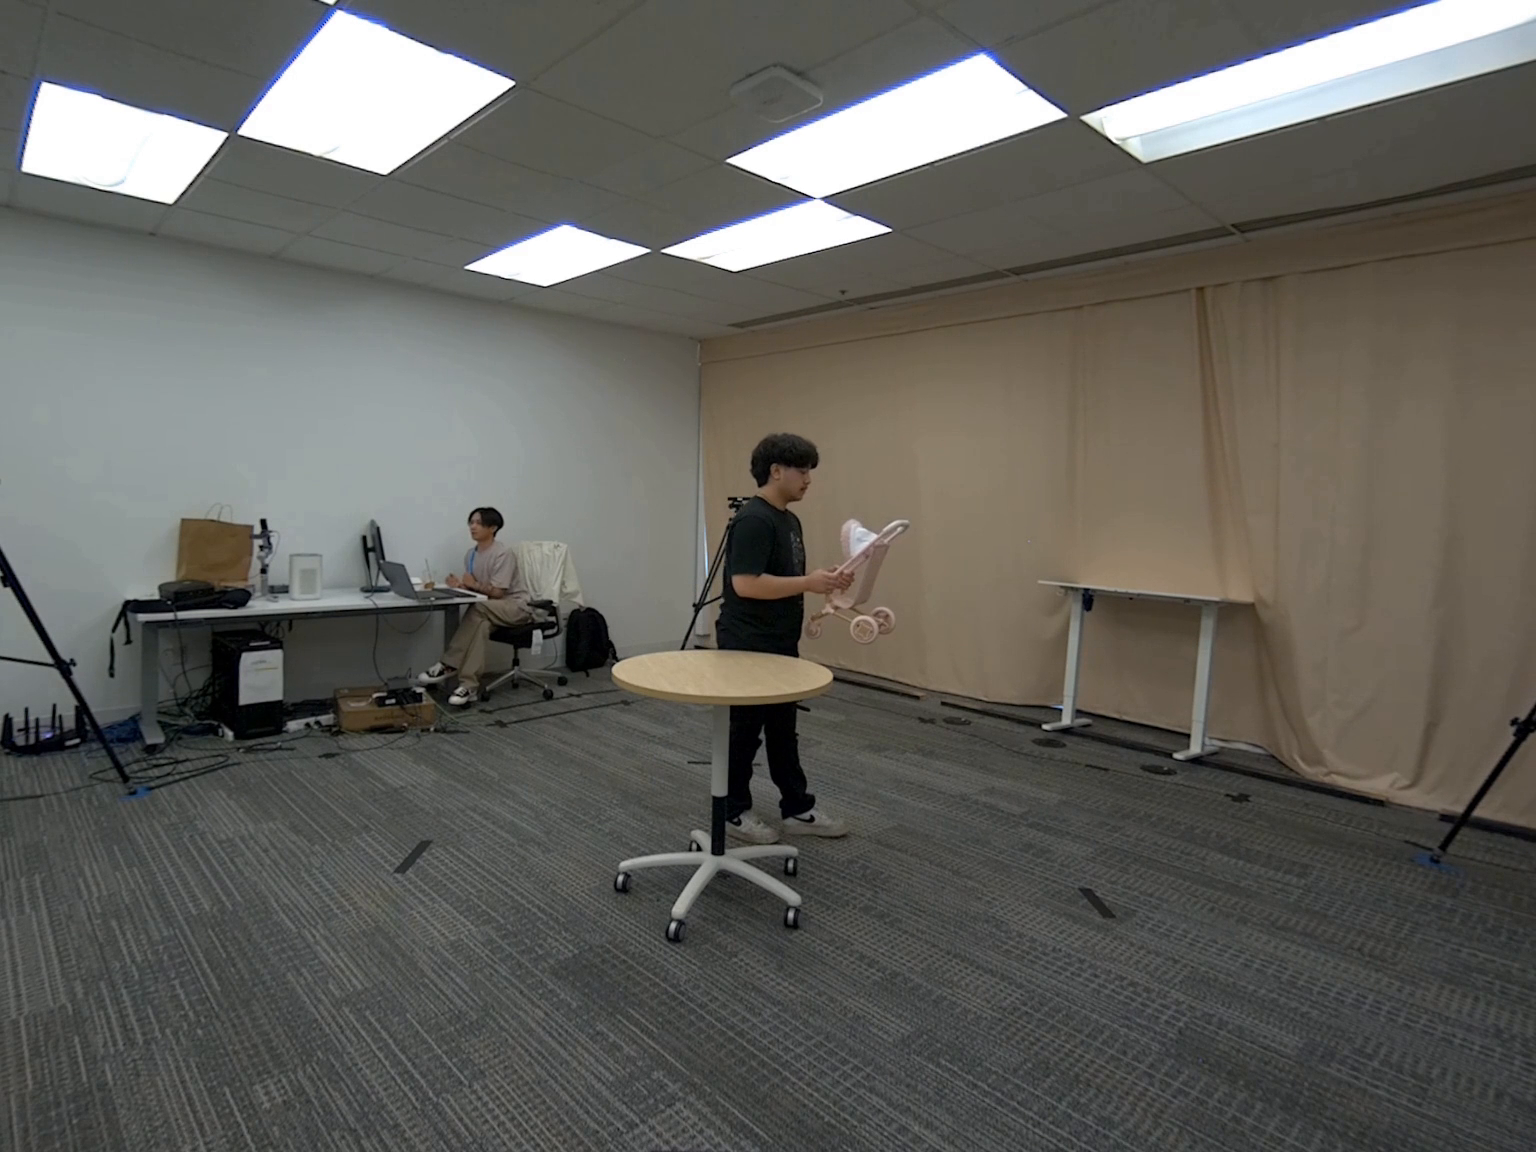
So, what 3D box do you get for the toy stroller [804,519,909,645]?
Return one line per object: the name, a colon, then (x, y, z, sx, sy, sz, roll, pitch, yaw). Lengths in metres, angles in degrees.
toy stroller: (0.333, 0.018, 3.318, 0.349, 0.532, 0.276, 12, 9, 28)
